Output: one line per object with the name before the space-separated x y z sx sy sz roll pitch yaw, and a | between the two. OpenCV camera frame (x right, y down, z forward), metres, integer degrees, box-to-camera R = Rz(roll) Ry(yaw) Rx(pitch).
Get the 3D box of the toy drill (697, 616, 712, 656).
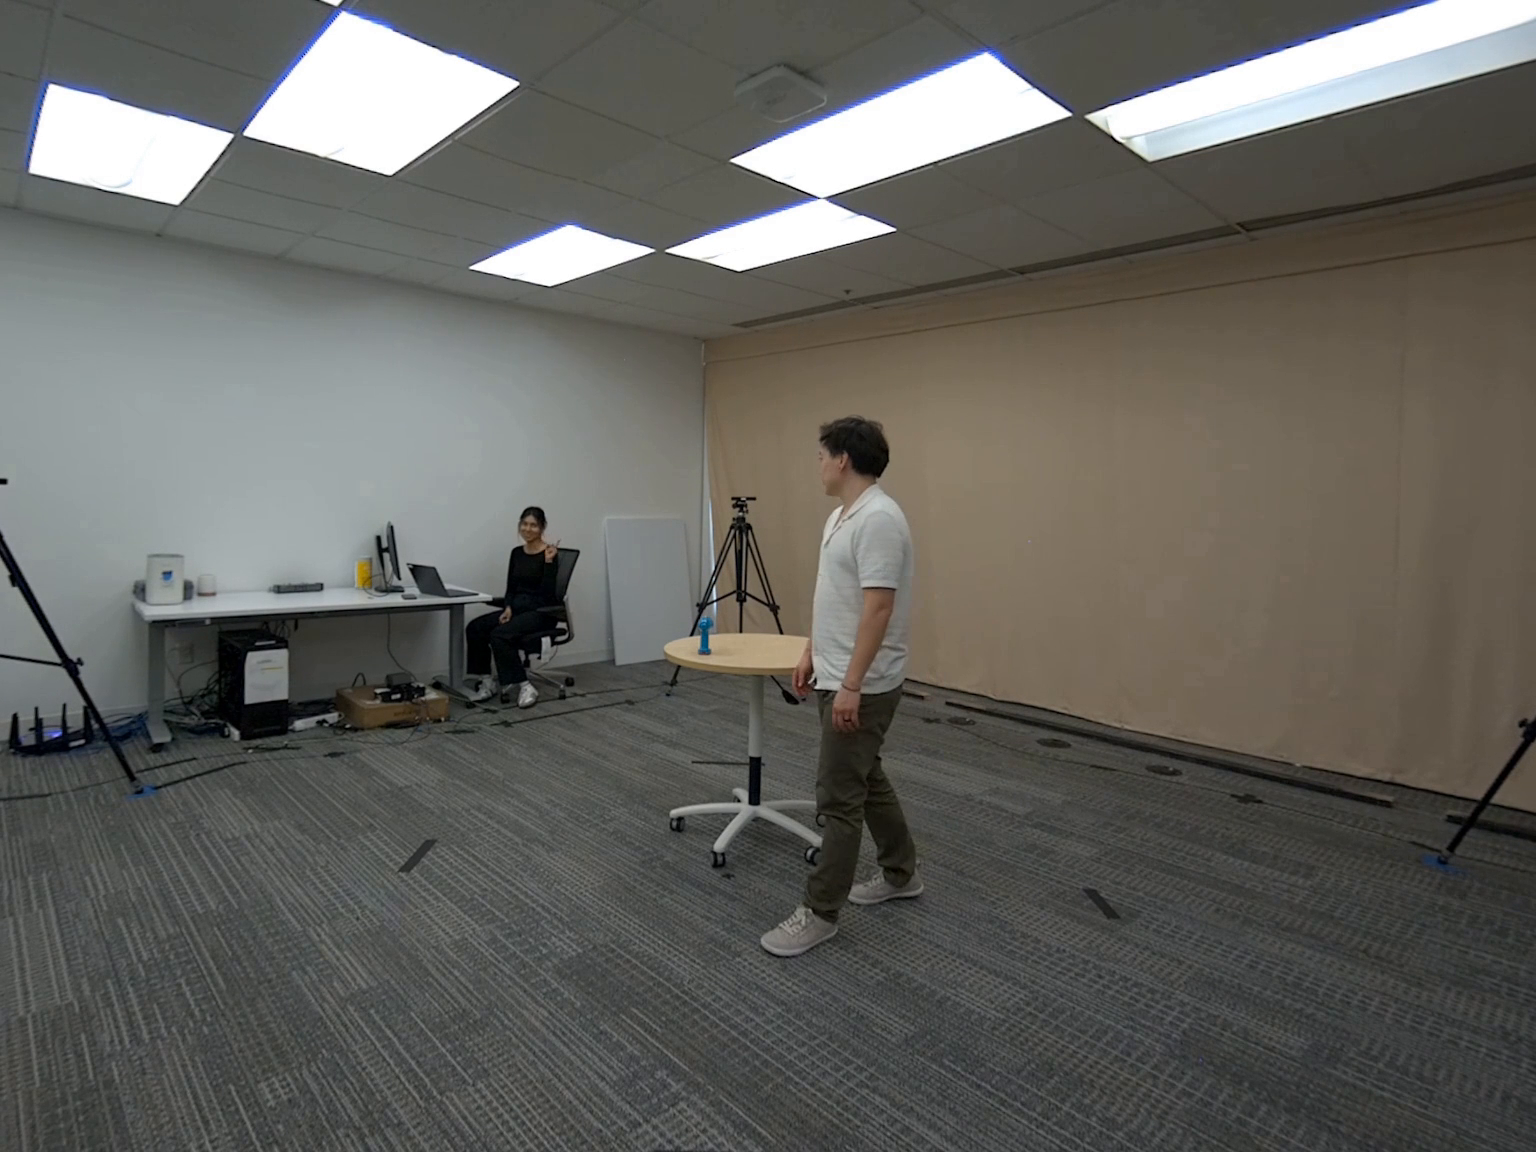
toy drill | -0.252 0.226 3.338 0.061 0.145 0.170 1 4 1
